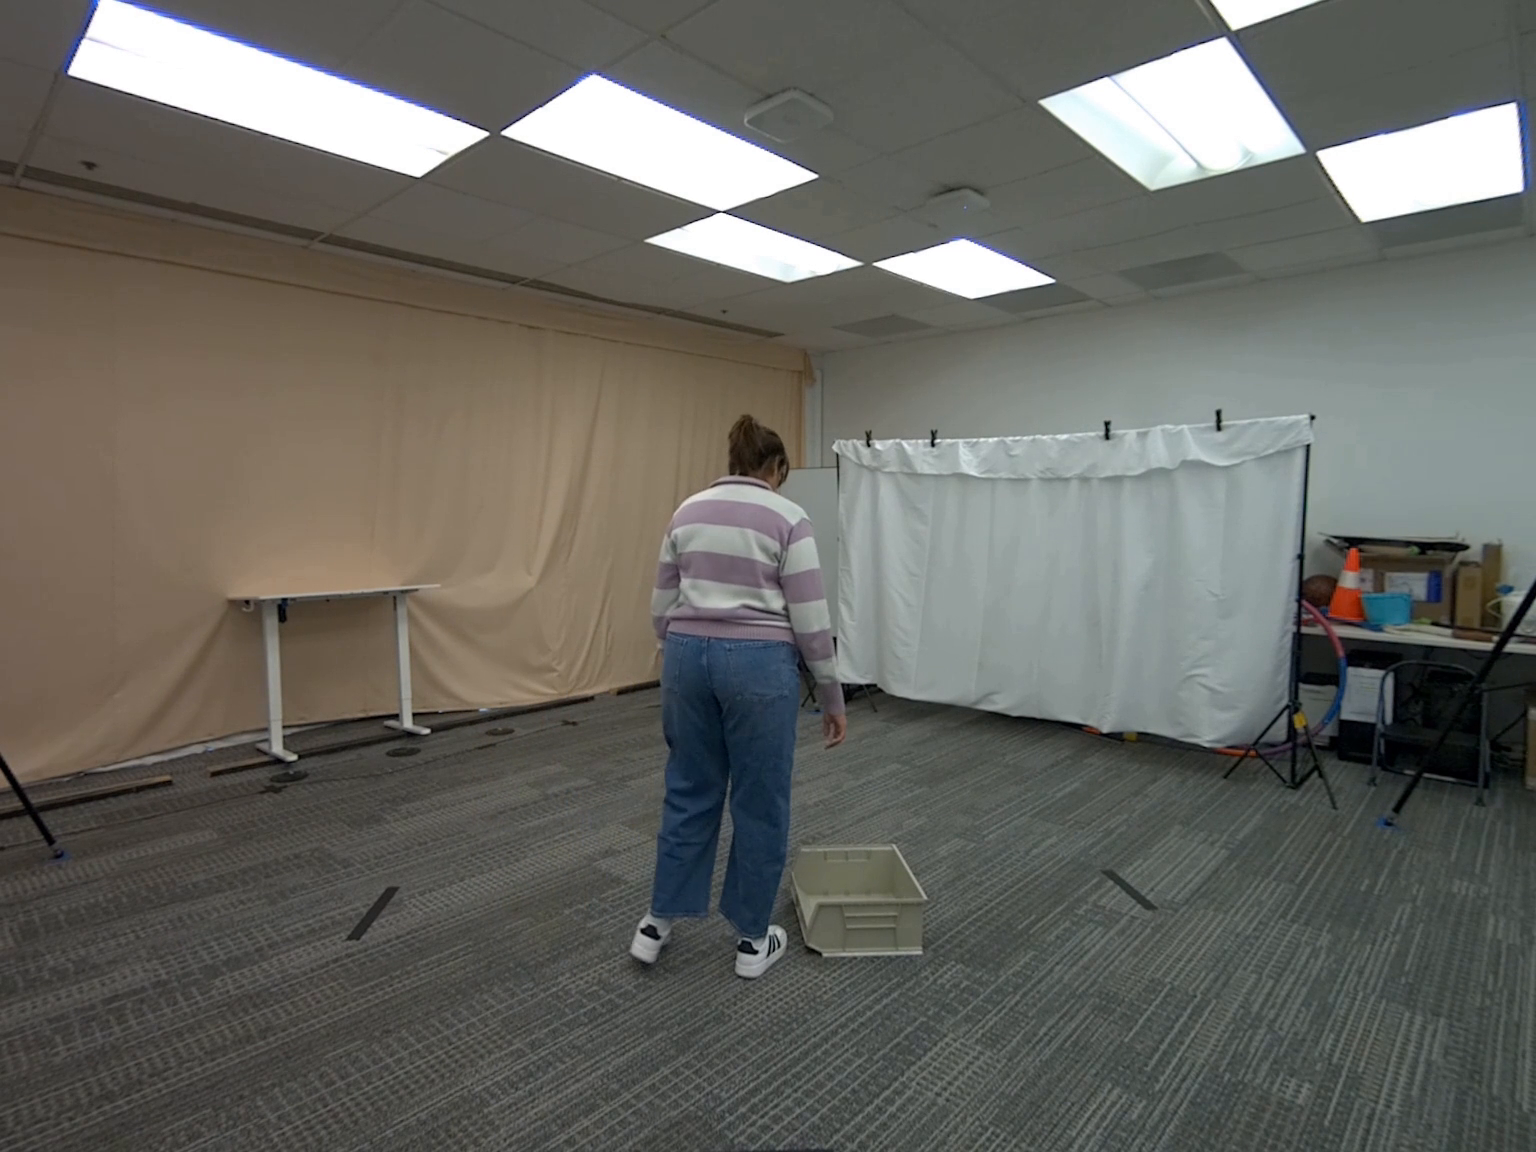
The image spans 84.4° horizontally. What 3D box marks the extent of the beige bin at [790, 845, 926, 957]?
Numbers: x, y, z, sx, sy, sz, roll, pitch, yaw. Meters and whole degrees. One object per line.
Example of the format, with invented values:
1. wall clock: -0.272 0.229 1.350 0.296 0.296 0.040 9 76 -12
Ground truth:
1. beige bin: 0.291 1.071 2.798 0.376 0.188 0.425 0 4 -4
